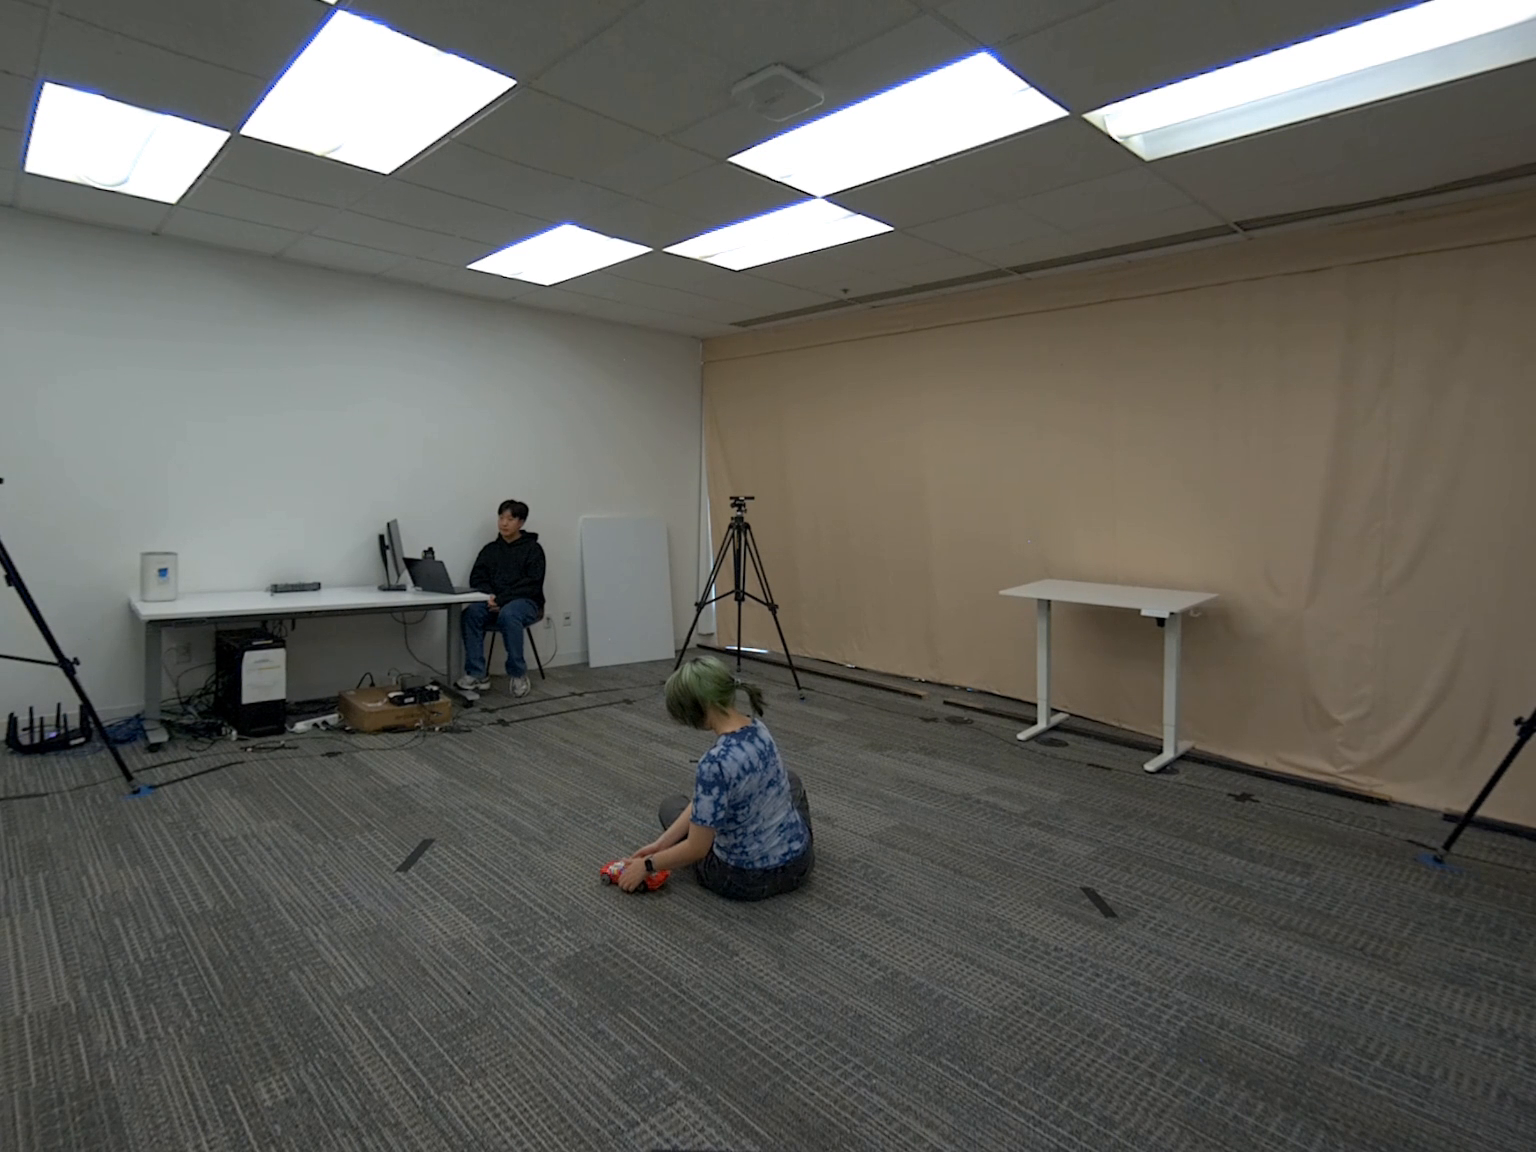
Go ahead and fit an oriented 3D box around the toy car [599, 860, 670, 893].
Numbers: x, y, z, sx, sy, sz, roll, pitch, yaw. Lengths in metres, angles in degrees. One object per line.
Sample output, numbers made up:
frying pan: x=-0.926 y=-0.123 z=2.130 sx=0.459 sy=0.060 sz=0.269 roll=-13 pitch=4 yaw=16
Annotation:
toy car: x=-0.480 y=1.071 z=3.015 sx=0.258 sy=0.083 sz=0.128 roll=-8 pitch=2 yaw=22
